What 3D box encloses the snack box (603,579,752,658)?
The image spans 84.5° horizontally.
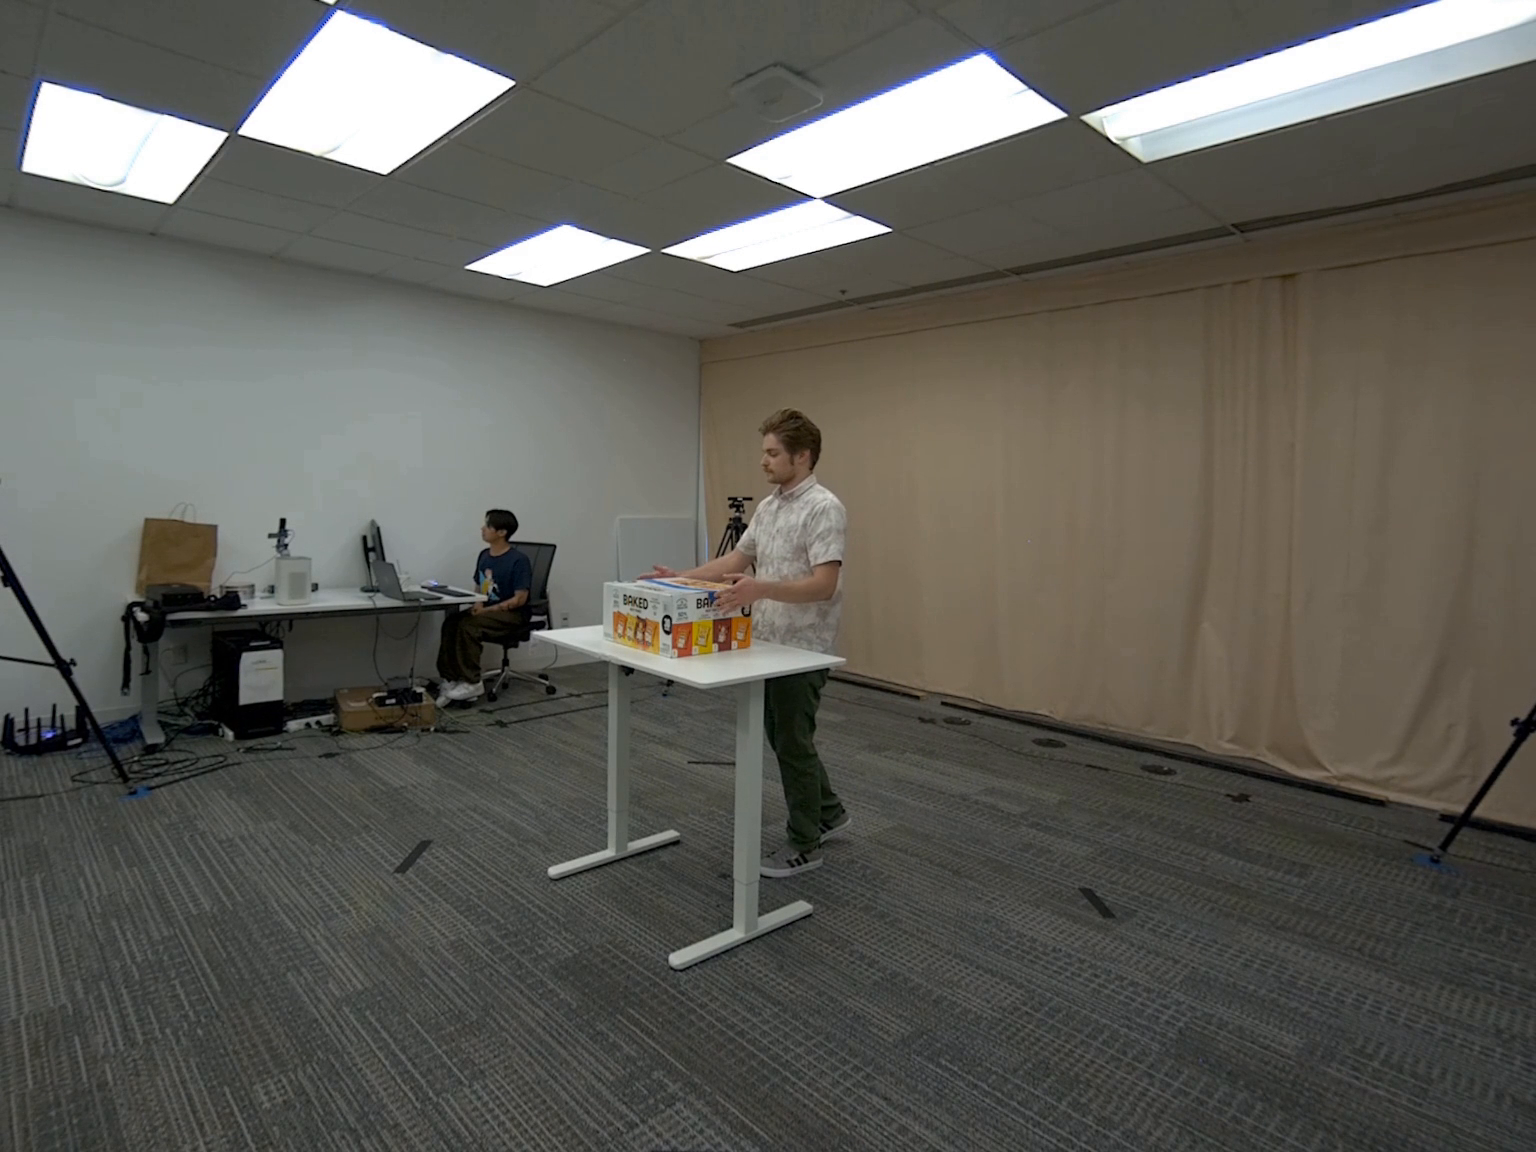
[{"bbox_3d":[-0.324,0.134,2.913,0.333,0.205,0.416,-3,7,-42],"label":"snack box"}]
